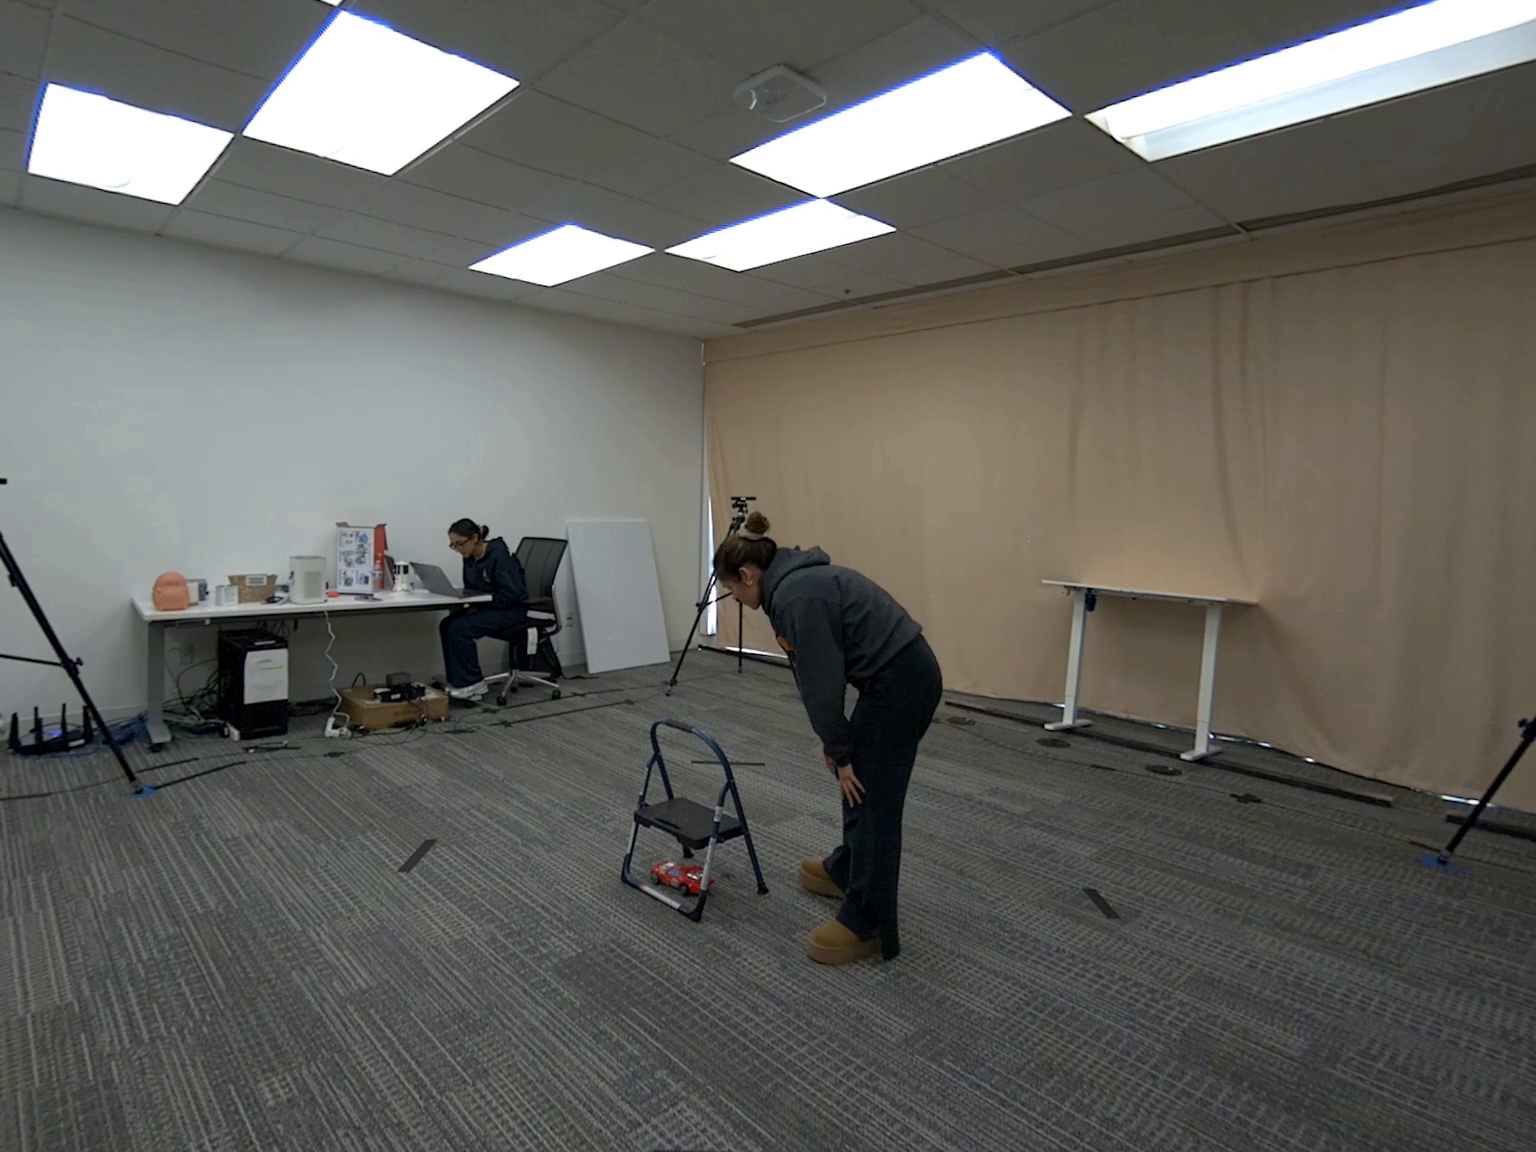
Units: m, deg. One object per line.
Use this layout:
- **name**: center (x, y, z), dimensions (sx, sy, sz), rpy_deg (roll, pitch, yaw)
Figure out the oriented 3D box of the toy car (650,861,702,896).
- **toy car**: center (-0.305, 1.082, 3.010), dimensions (0.259, 0.083, 0.127), rpy_deg (-9, -2, 37)
